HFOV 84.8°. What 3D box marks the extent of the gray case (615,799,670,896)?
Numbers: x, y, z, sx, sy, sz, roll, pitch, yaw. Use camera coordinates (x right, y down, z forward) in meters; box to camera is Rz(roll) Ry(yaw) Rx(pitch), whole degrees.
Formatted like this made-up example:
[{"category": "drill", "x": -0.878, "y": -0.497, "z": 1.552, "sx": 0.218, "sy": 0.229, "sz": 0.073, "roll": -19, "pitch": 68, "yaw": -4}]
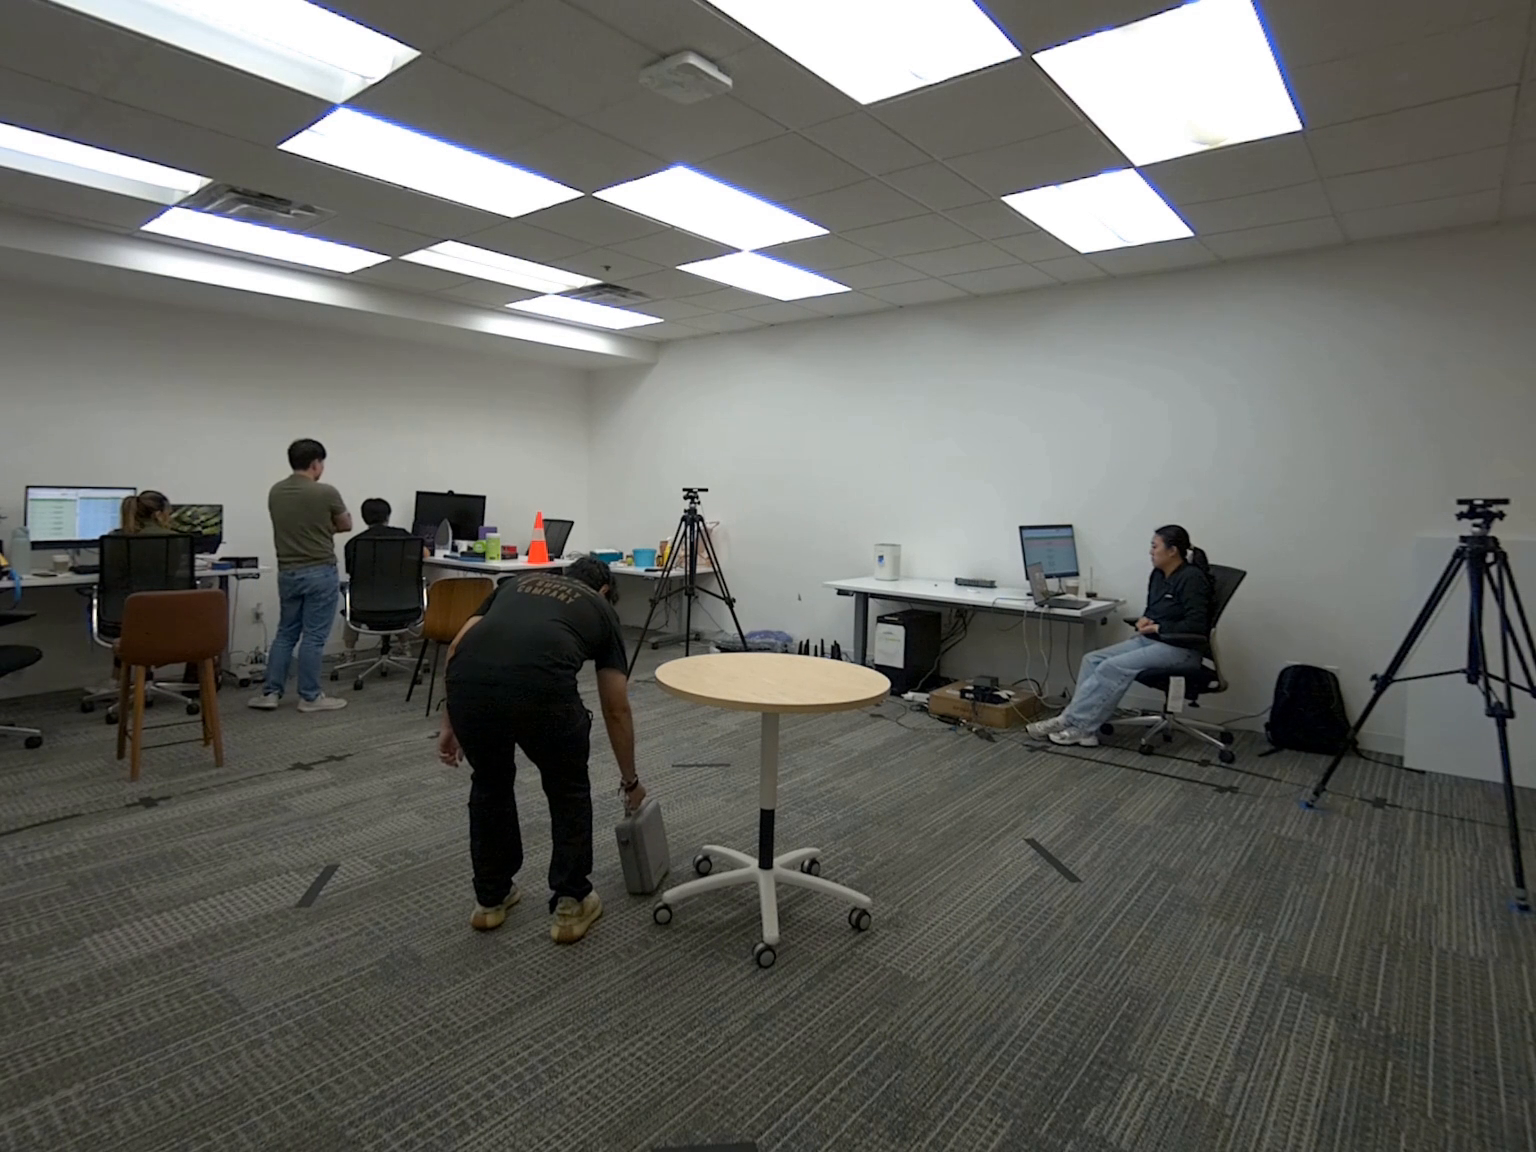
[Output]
[{"category": "gray case", "x": -0.448, "y": 0.943, "z": 2.997, "sx": 0.105, "sy": 0.260, "sz": 0.254, "roll": -10, "pitch": 1, "yaw": 10}]
